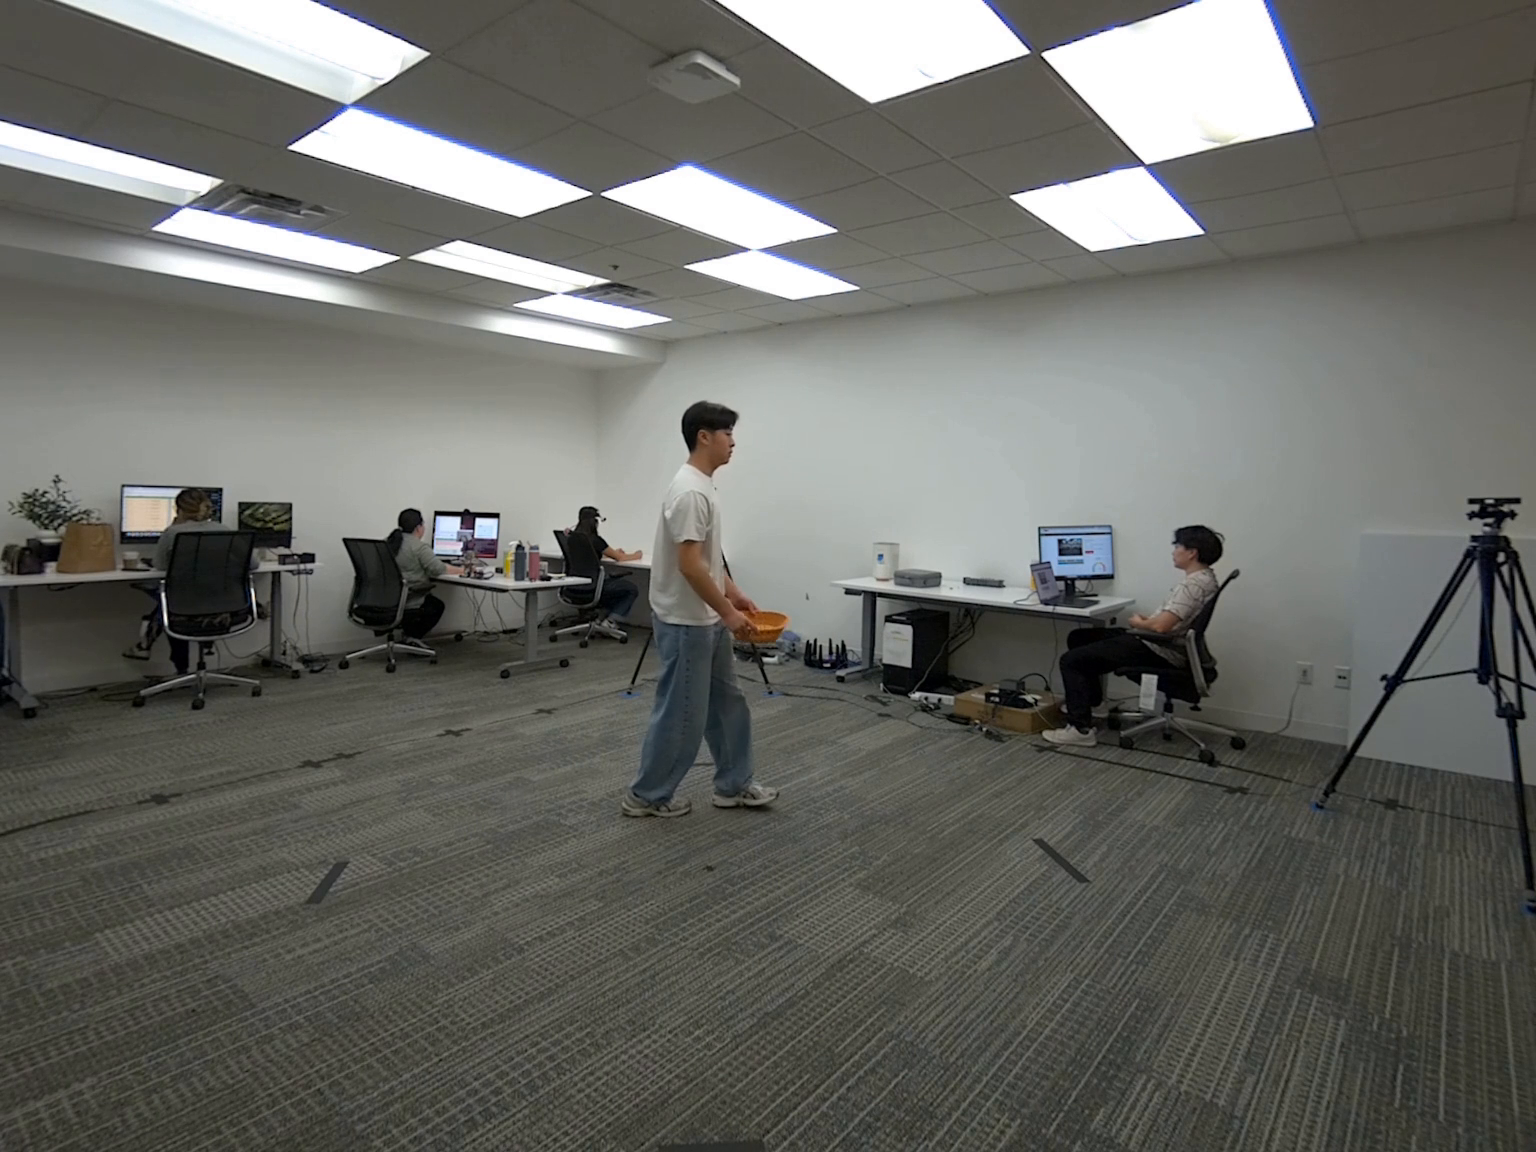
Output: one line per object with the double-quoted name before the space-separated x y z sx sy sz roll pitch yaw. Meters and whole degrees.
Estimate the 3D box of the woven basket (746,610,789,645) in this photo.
"woven basket" -0.063 0.218 3.544 0.257 0.073 0.347 4 10 15
